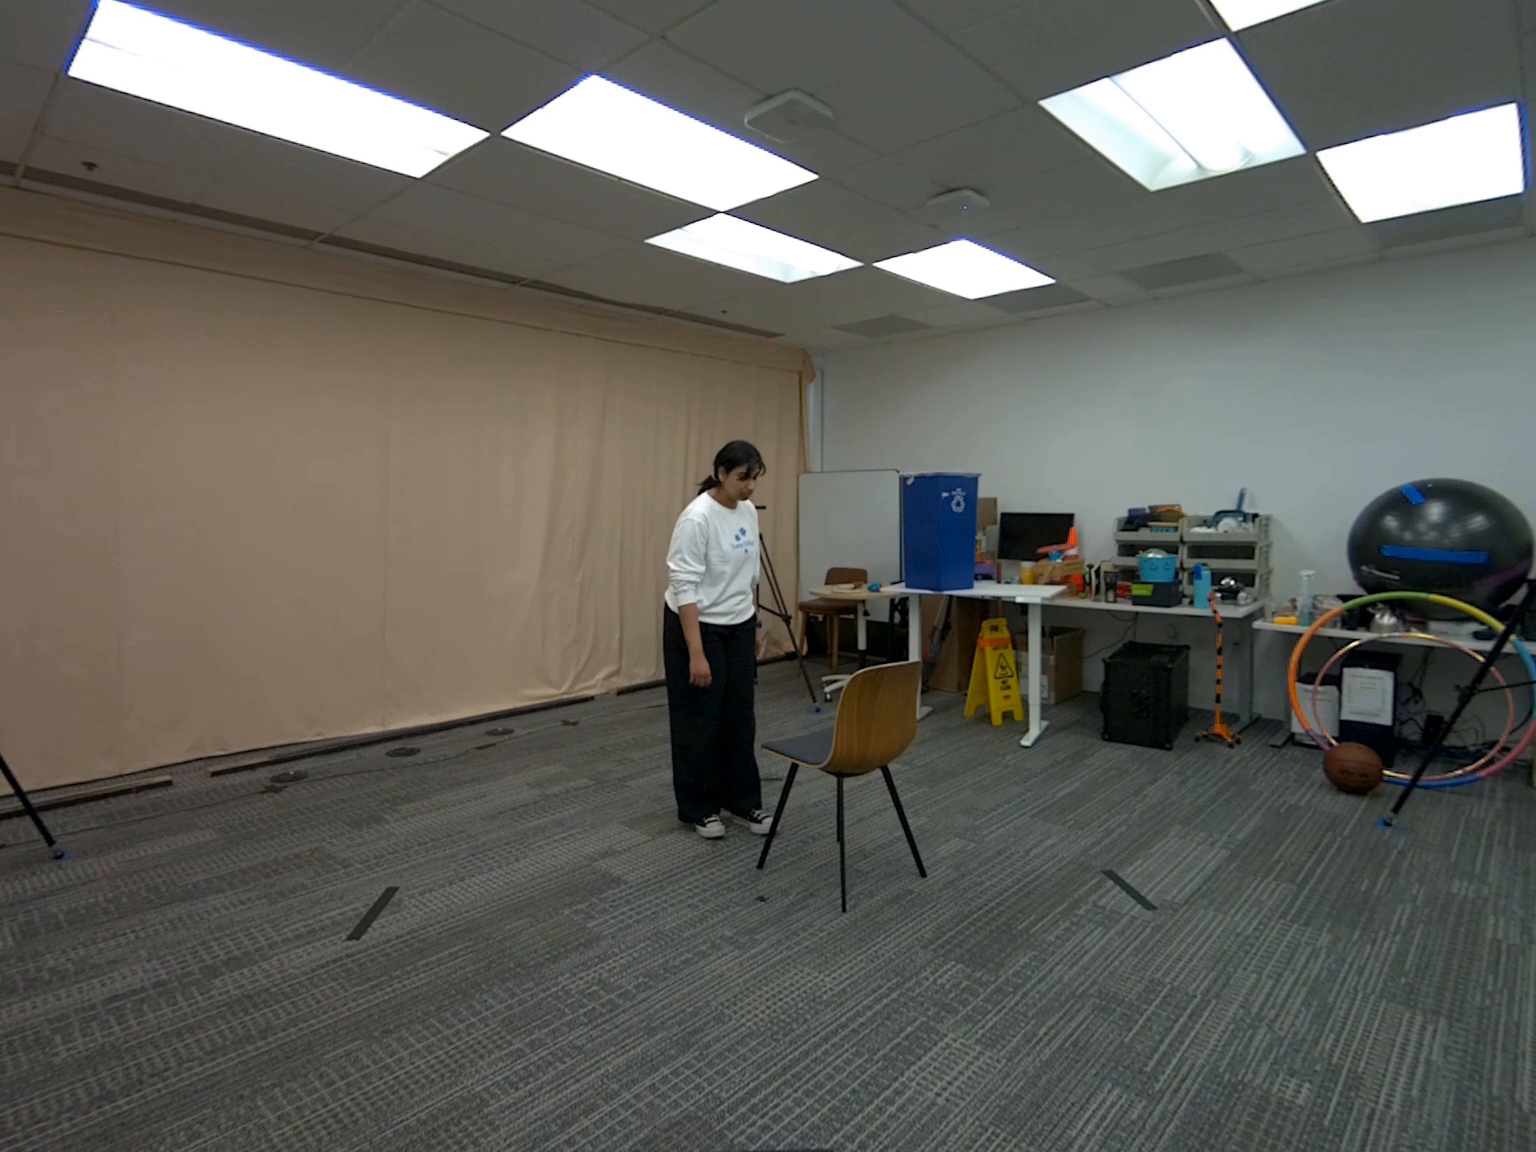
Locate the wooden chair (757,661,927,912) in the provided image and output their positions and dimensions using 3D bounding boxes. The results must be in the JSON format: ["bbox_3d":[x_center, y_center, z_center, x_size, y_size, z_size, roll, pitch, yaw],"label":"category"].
[{"bbox_3d":[0.277,0.699,3.164,0.463,0.874,0.541,-3,9,-40],"label":"wooden chair"}]
